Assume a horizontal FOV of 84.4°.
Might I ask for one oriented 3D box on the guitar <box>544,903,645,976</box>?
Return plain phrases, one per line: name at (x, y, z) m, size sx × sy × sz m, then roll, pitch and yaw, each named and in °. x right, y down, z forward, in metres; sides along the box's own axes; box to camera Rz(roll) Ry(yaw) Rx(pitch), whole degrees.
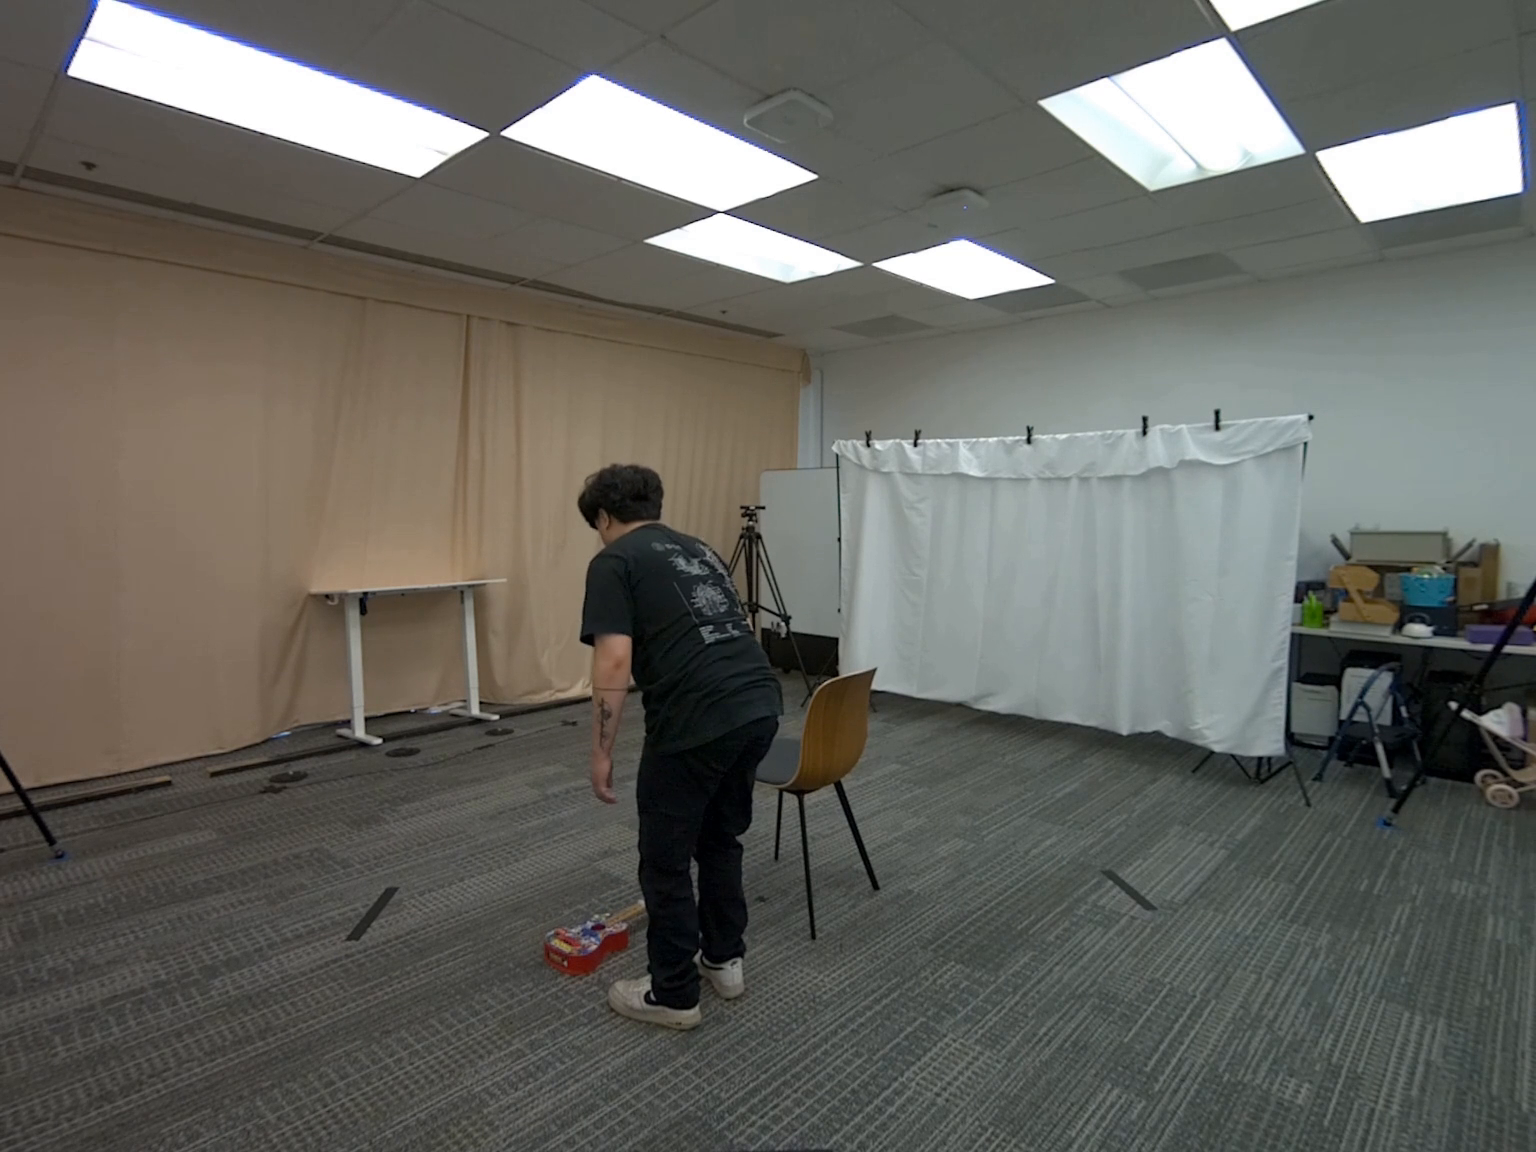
guitar at (-0.478, 1.142, 2.702) m, size 0.483 × 0.070 × 0.199 m, roll -5°, pitch 6°, yaw -42°
